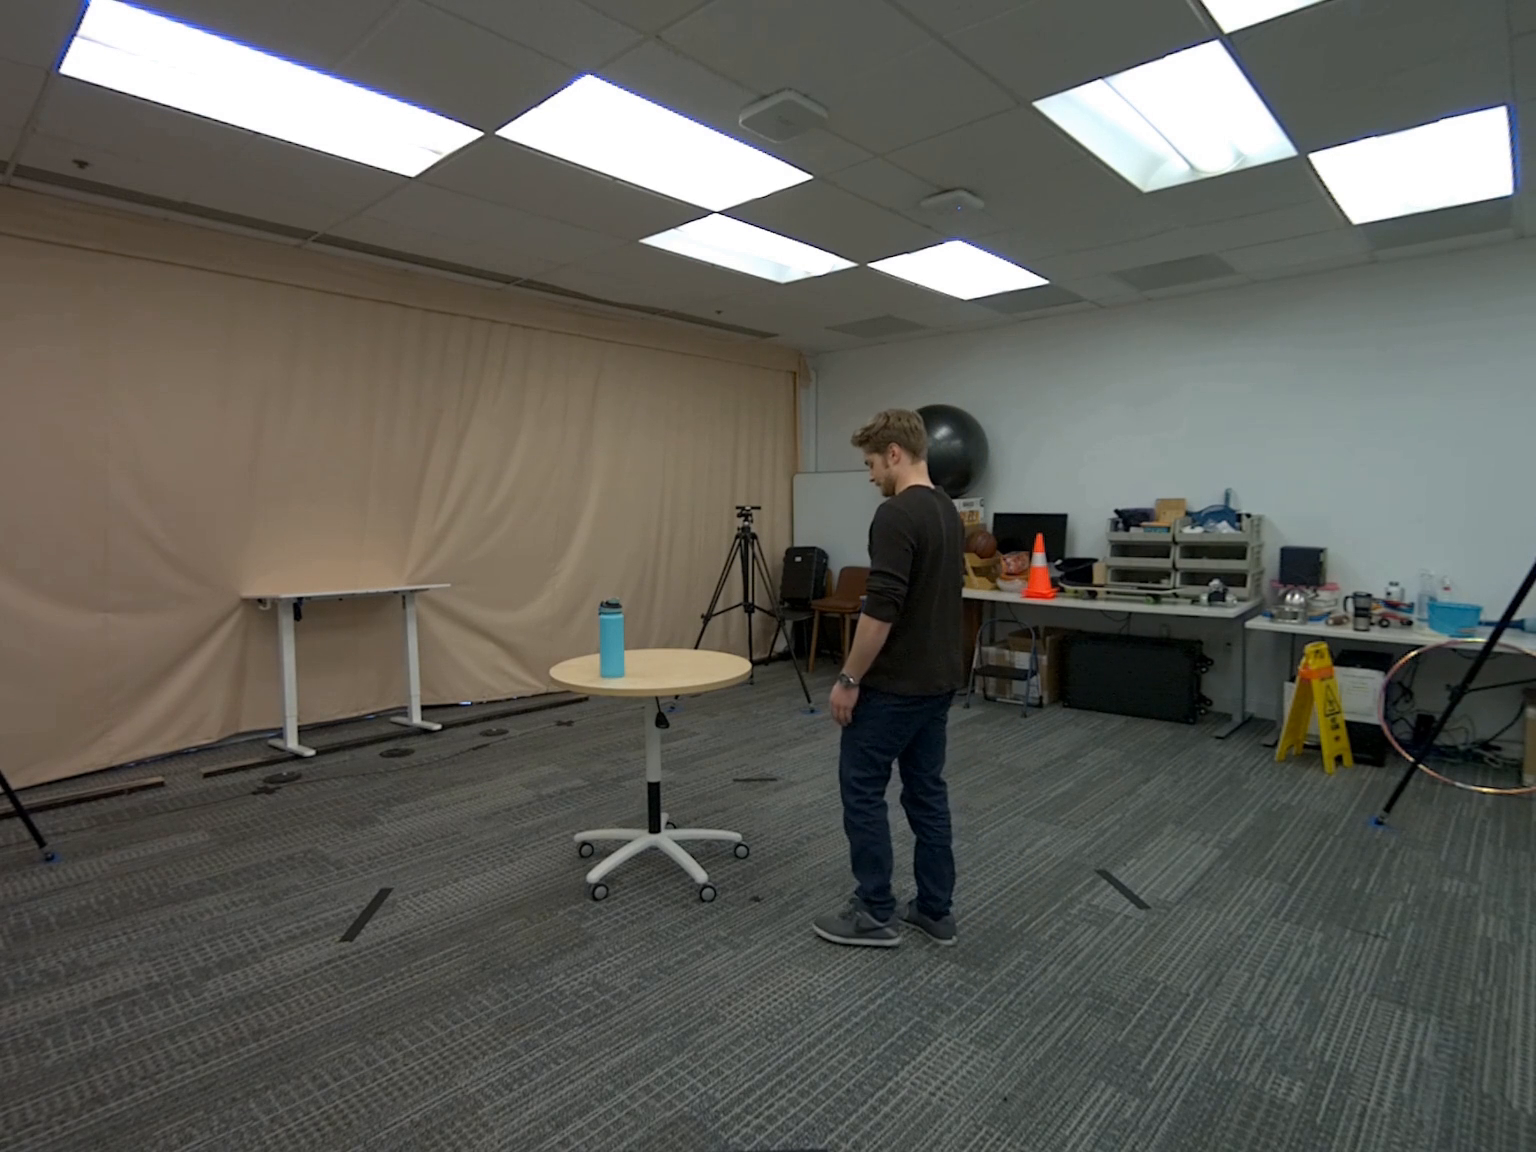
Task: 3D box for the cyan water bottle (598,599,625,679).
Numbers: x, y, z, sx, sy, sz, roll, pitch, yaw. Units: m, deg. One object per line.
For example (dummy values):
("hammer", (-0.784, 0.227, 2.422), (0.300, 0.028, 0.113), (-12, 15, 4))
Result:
("cyan water bottle", (-0.567, 0.223, 3.051), (0.092, 0.283, 0.092), (-2, 1, -2))
